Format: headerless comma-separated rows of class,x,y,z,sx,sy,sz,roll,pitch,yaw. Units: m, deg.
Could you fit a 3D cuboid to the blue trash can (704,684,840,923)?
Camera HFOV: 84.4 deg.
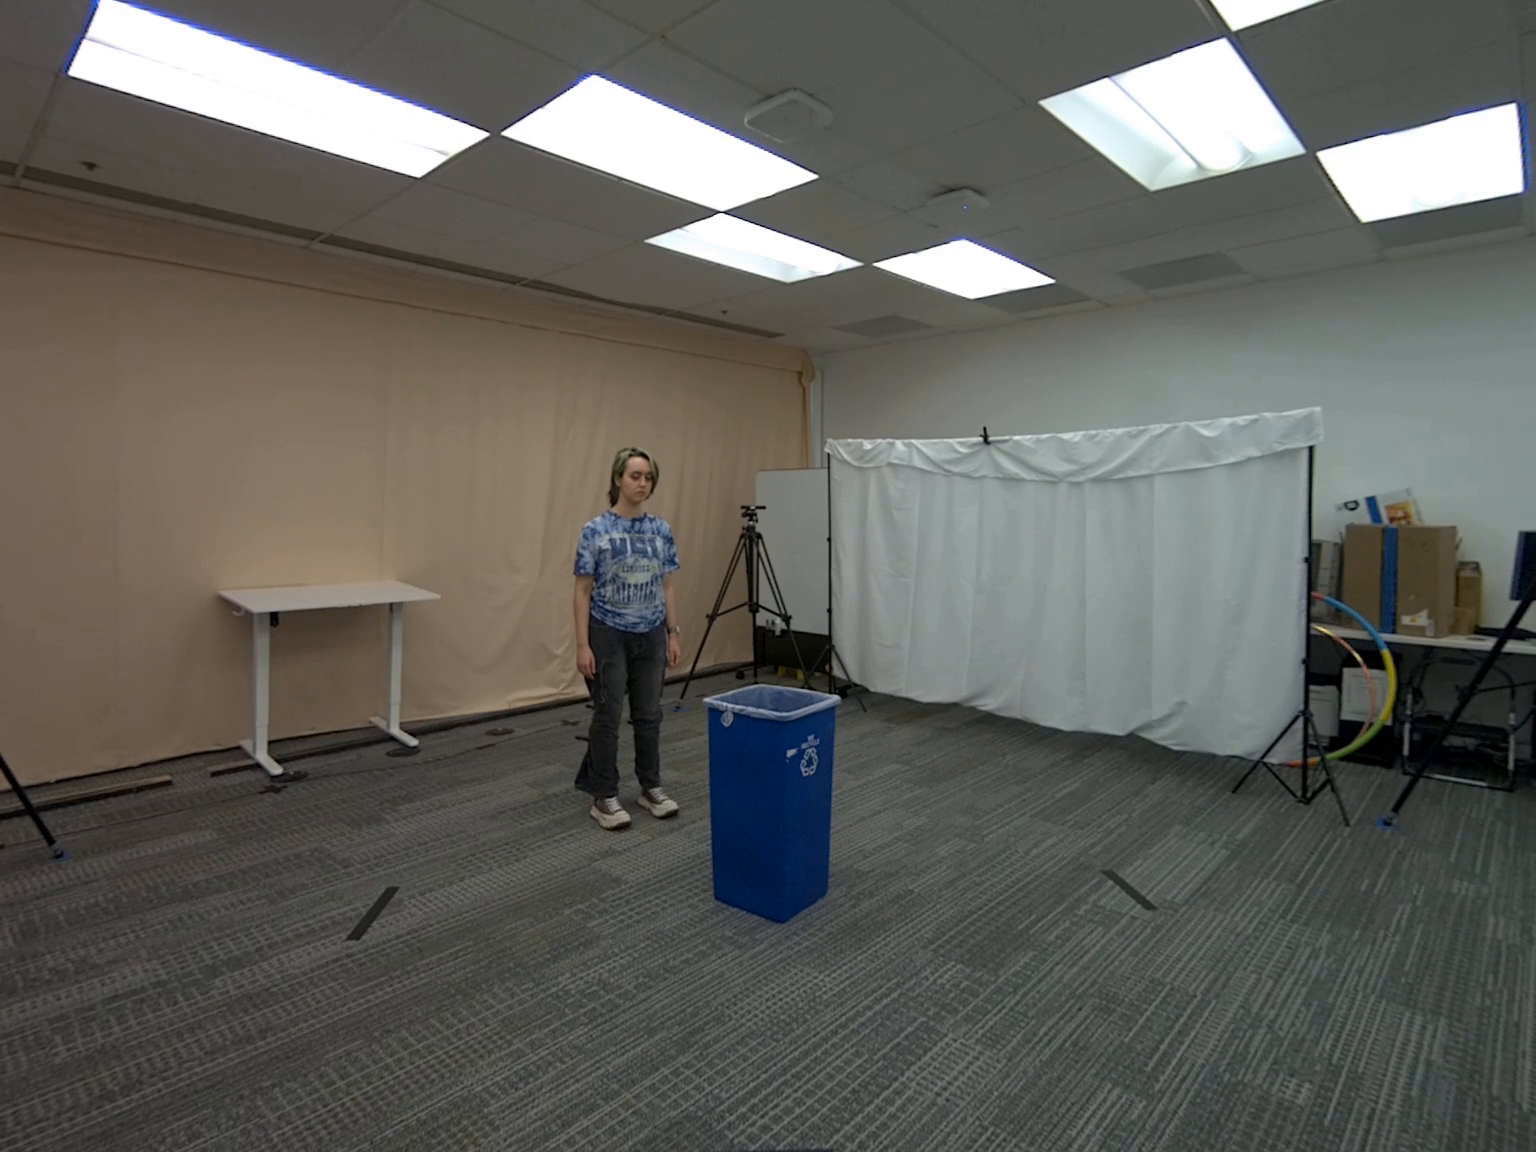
blue trash can,0.018,0.784,2.994,0.390,0.712,0.363,3,5,37
